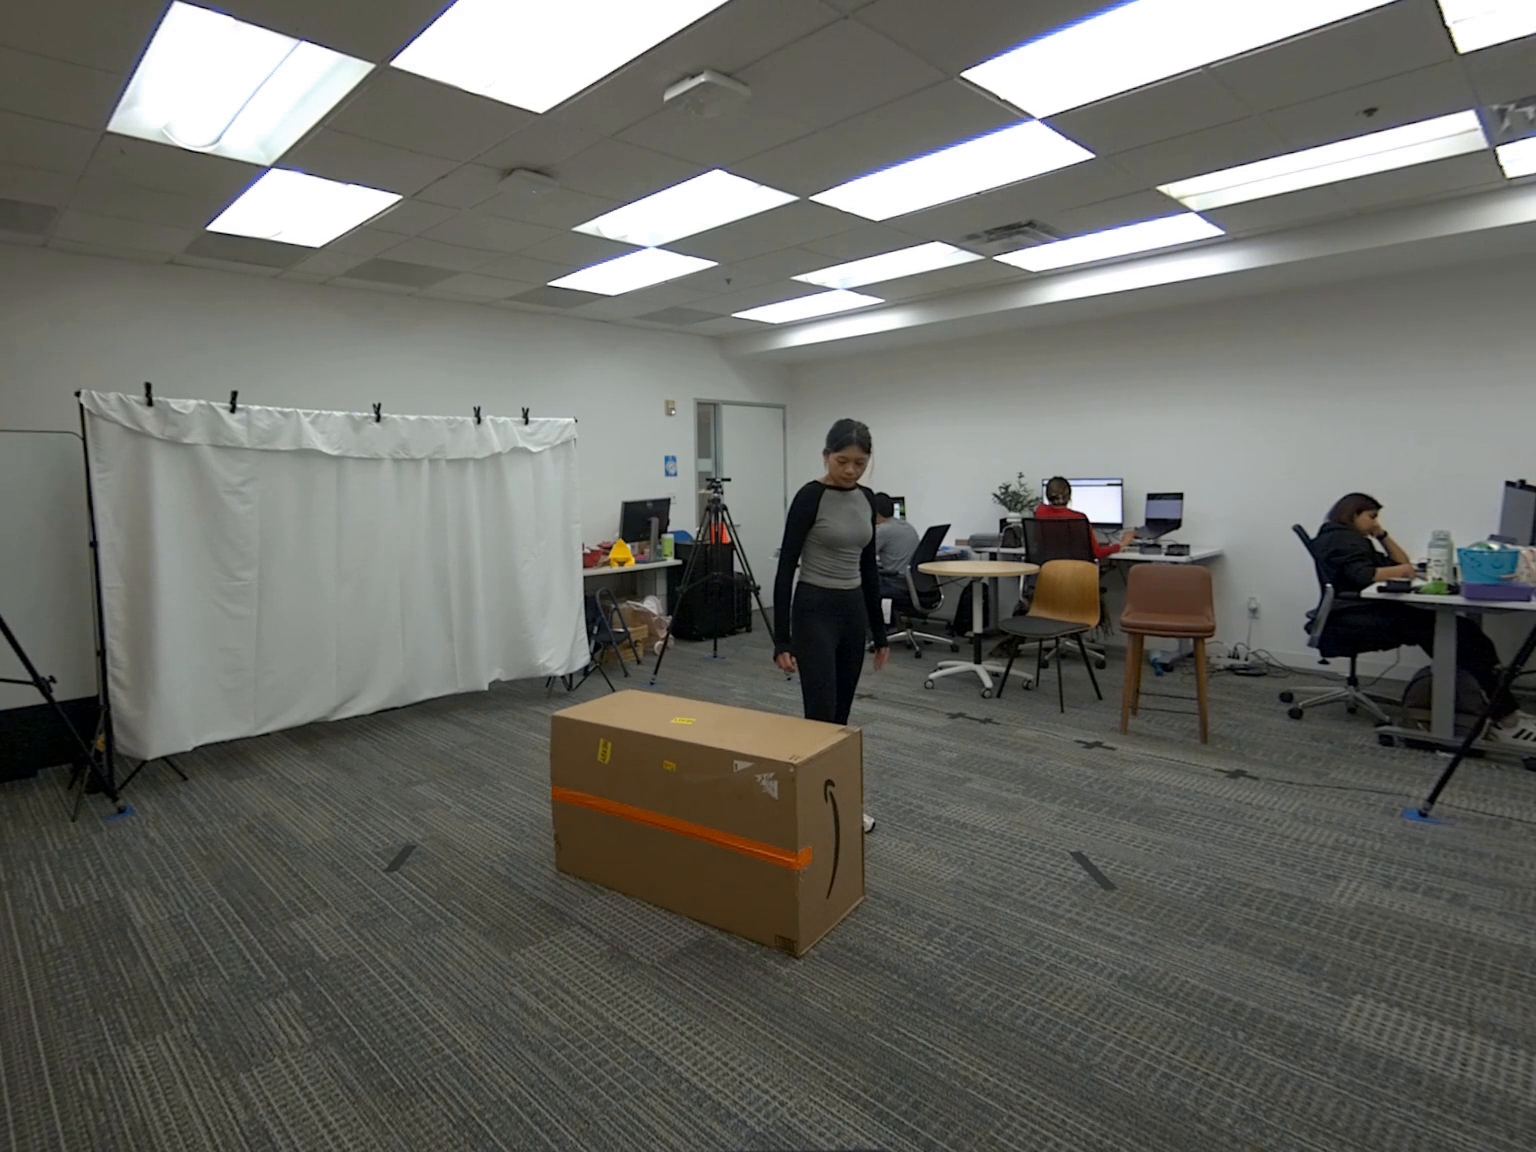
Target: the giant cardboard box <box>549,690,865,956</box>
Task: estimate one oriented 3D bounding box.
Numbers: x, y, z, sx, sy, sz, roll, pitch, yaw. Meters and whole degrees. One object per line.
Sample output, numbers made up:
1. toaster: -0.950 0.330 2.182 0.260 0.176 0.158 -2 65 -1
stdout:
1. giant cardboard box: -0.228 0.778 2.932 1.055 0.576 0.415 3 5 35
